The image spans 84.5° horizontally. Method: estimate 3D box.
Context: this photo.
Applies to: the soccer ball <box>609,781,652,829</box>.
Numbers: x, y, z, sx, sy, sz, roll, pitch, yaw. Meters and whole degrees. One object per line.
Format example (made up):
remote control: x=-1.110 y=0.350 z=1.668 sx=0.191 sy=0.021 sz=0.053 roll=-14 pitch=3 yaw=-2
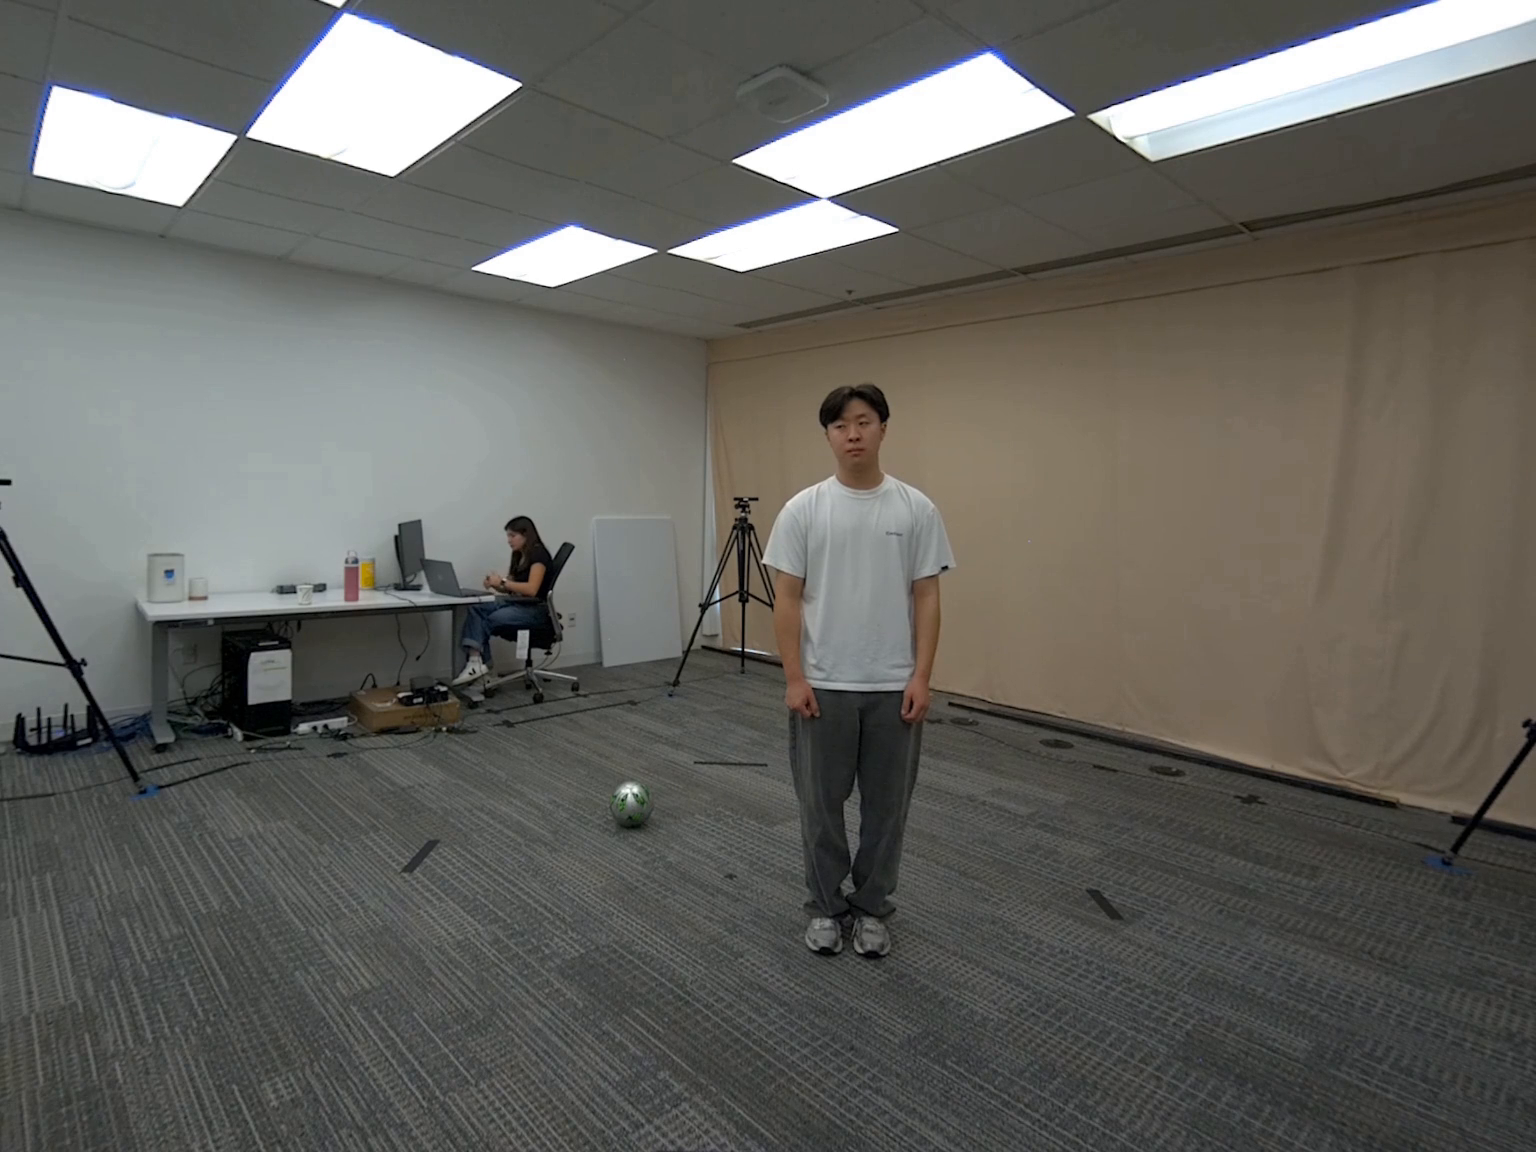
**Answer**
soccer ball: x=-0.588 y=0.968 z=3.556 sx=0.187 sy=0.187 sz=0.188 roll=1 pitch=4 yaw=-1
